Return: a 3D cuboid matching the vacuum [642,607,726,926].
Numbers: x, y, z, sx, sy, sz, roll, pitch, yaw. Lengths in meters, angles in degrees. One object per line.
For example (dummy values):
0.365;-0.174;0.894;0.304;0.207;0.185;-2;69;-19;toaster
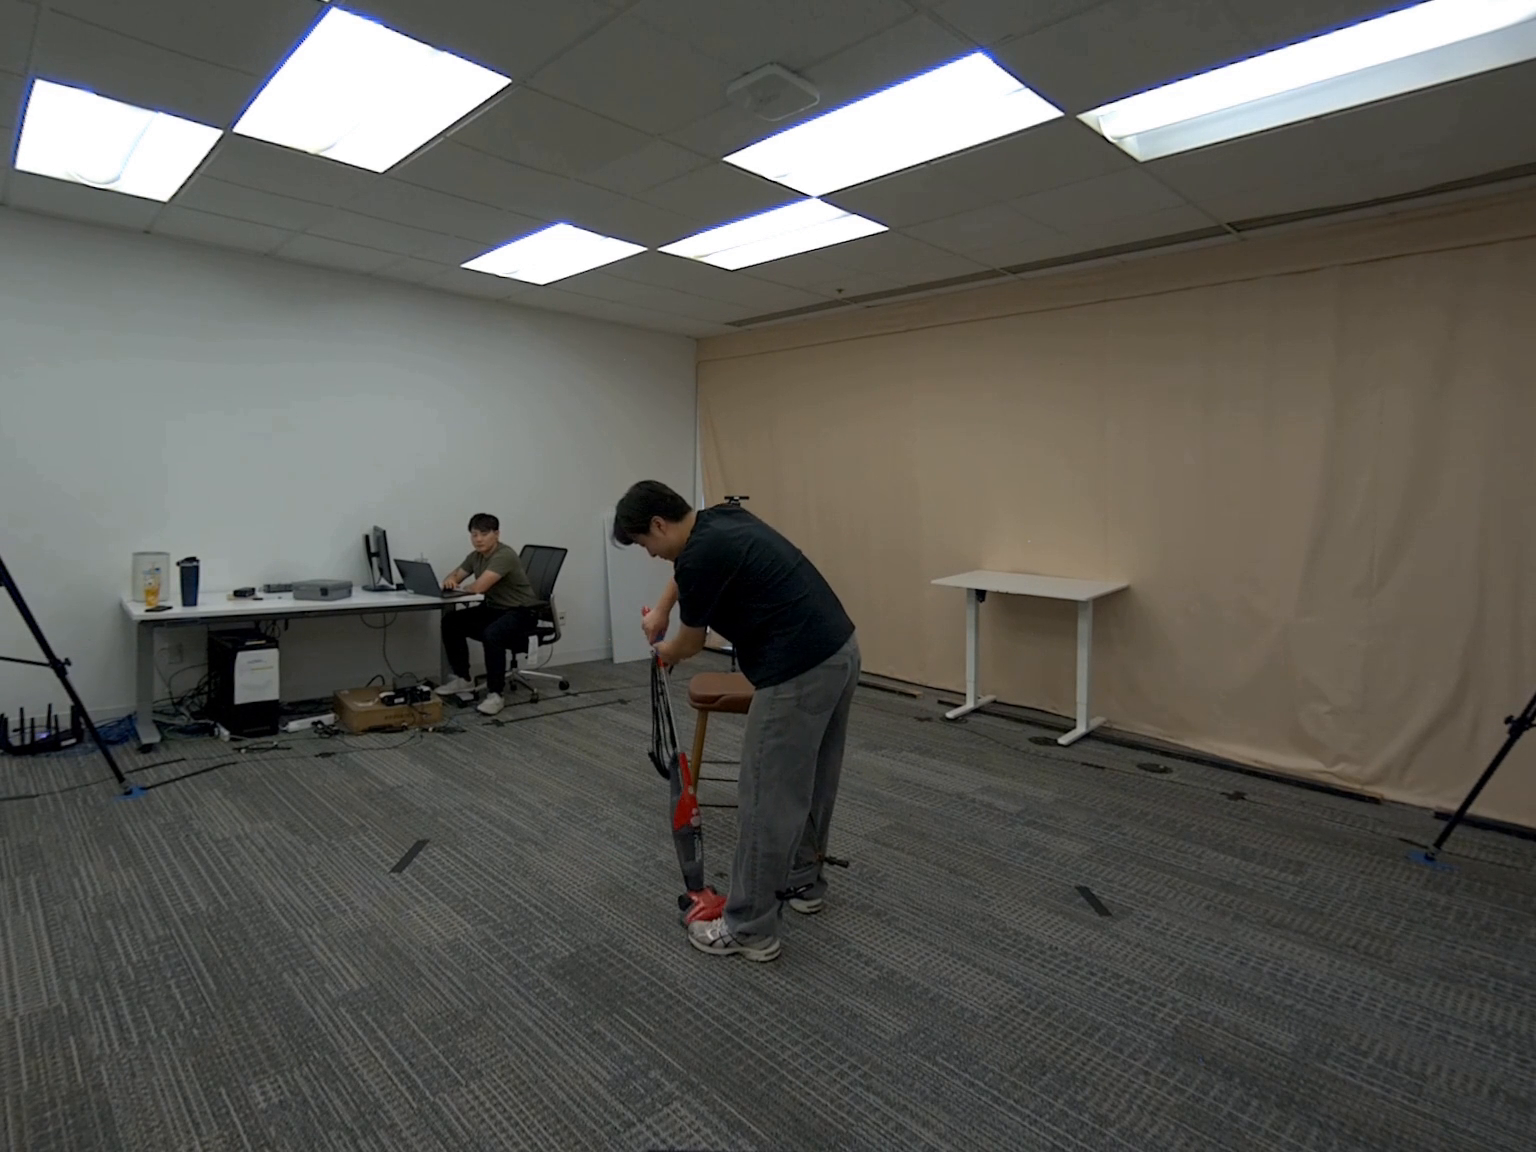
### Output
-0.337;0.632;2.963;0.145;1.063;0.246;-25;-18;34;vacuum
